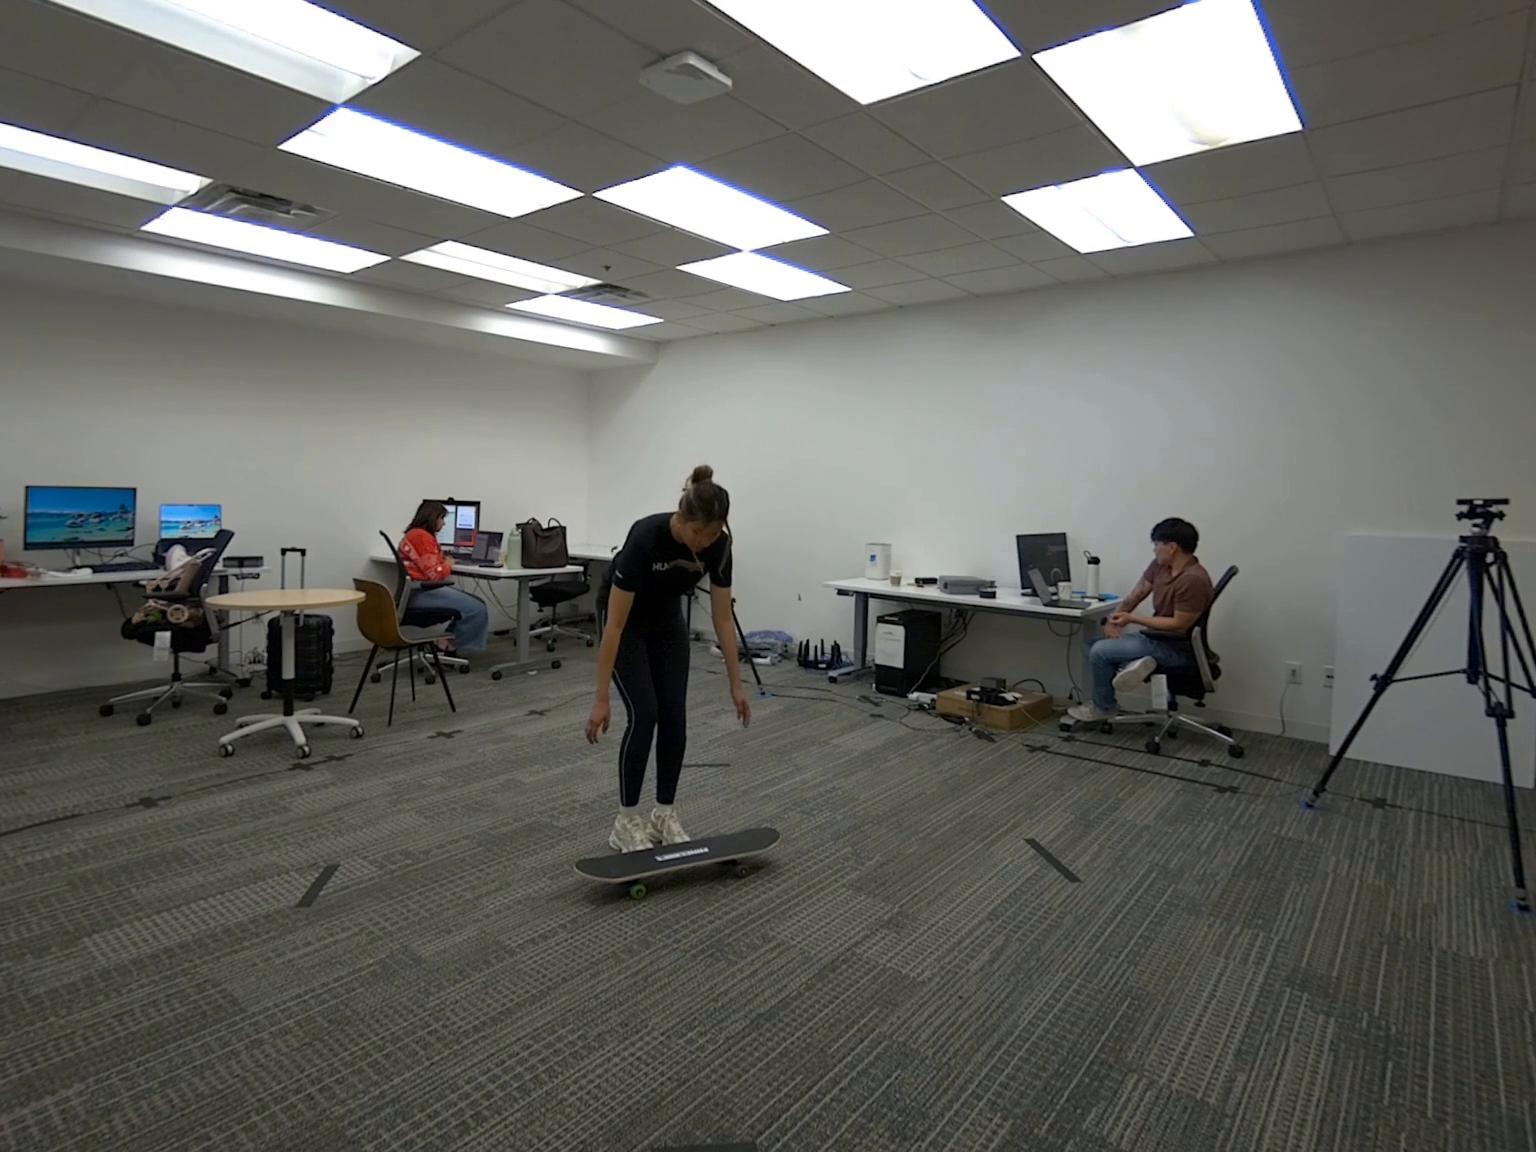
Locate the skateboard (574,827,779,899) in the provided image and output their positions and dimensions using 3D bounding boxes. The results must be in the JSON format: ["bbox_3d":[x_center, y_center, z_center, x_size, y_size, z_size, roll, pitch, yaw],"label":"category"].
[{"bbox_3d":[-0.314,1.017,3.032,0.766,0.110,0.199,-2,5,-27],"label":"skateboard"}]
